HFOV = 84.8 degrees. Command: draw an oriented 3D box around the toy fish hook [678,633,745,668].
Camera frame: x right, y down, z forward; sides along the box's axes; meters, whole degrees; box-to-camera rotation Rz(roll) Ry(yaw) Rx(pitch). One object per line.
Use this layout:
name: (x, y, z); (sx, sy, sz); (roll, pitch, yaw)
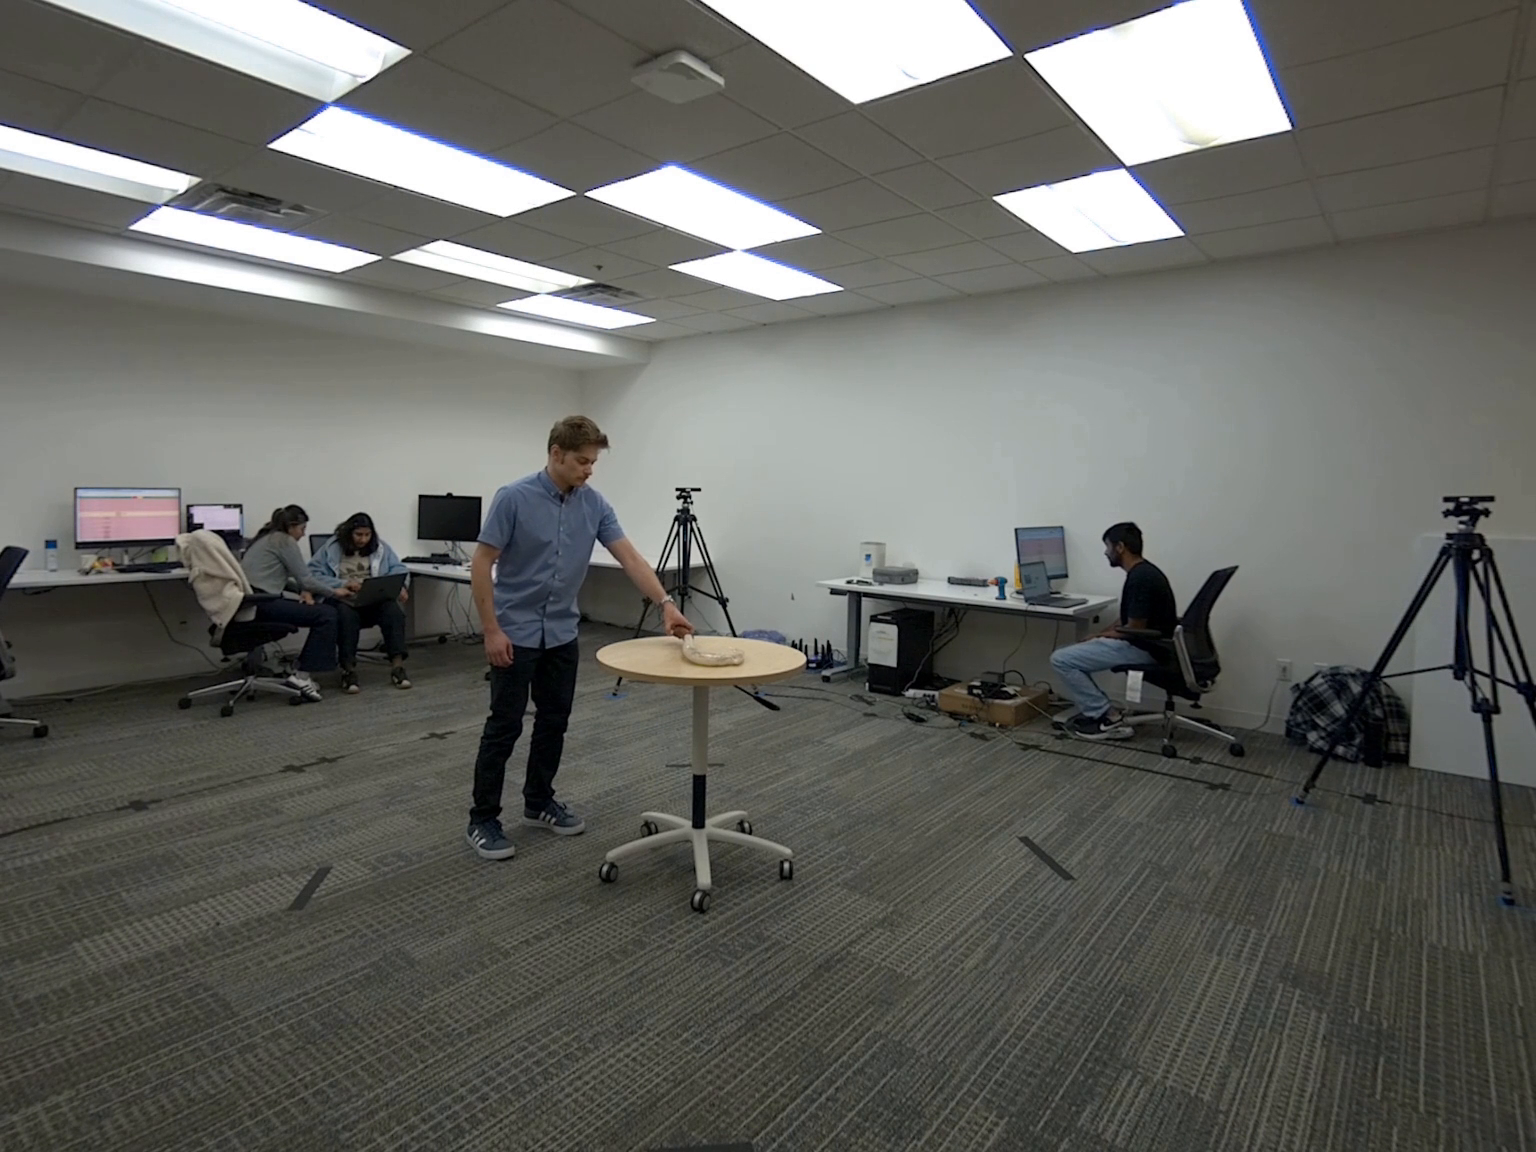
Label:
toy fish hook: (-0.246, 0.253, 3.140); (0.220, 0.048, 0.520); (6, 10, -20)
